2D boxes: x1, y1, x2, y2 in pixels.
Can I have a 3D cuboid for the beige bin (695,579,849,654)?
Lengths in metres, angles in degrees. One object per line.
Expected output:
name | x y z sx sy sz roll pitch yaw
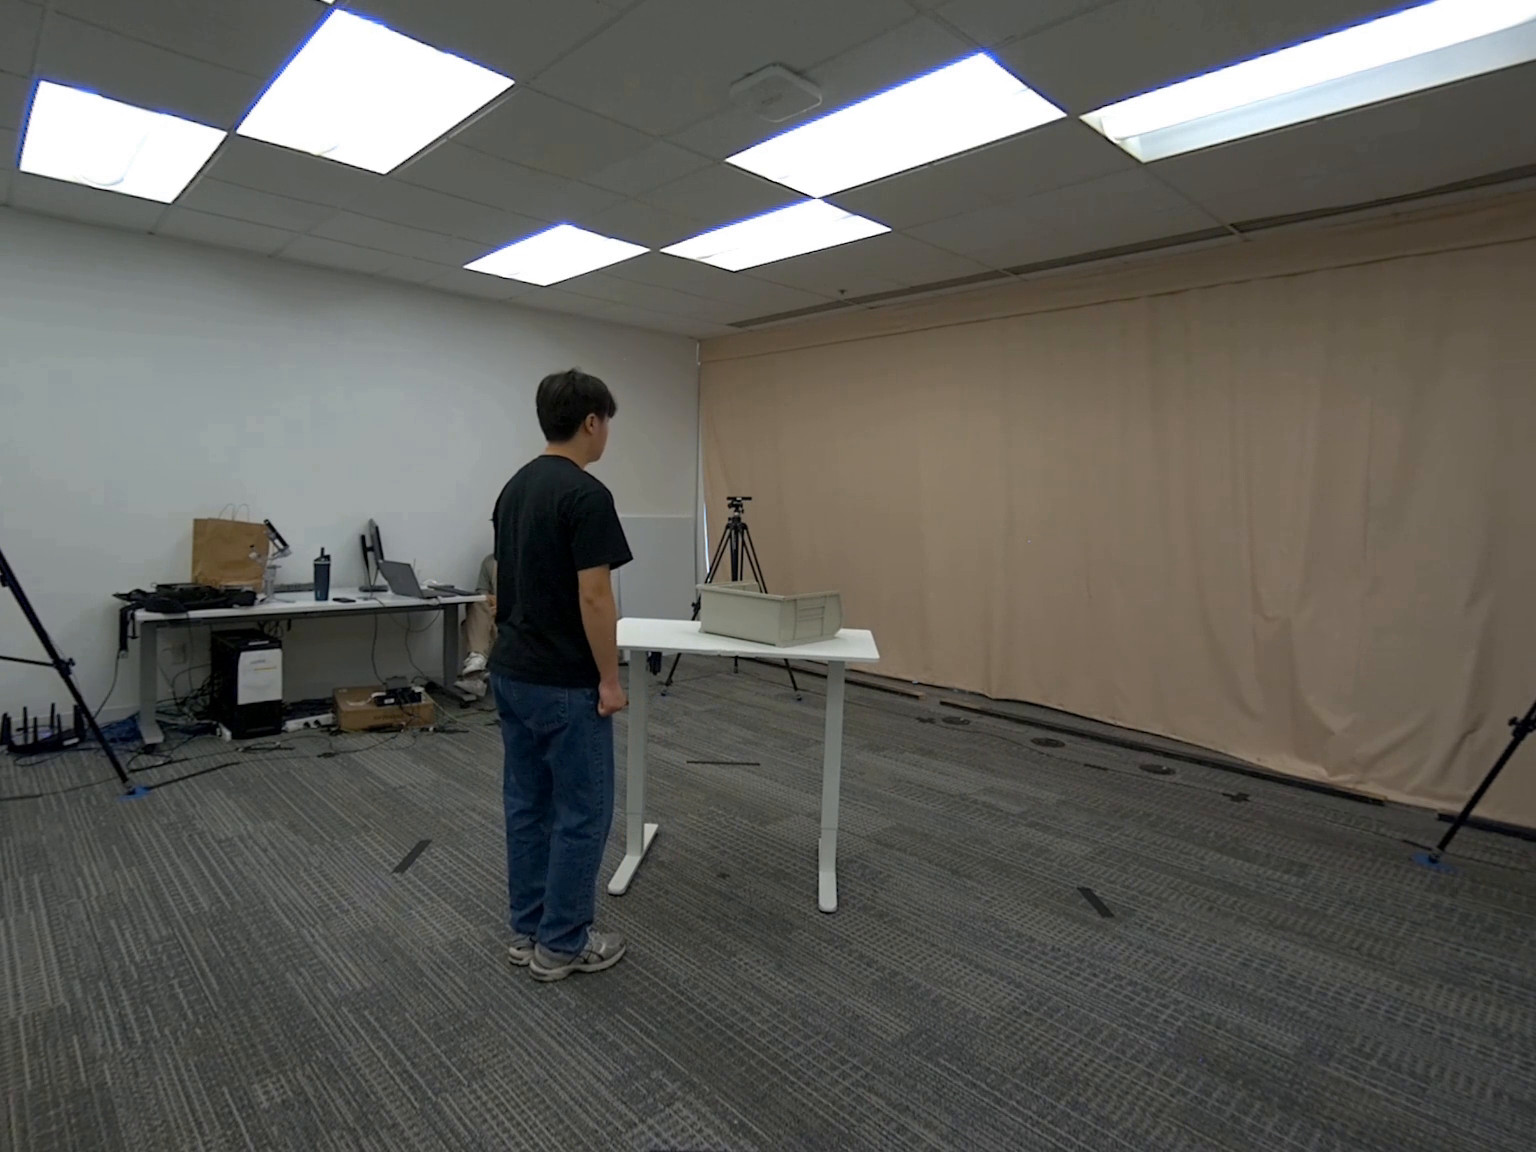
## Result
beige bin | 0.012 0.137 3.155 0.433 0.188 0.369 6 8 41
